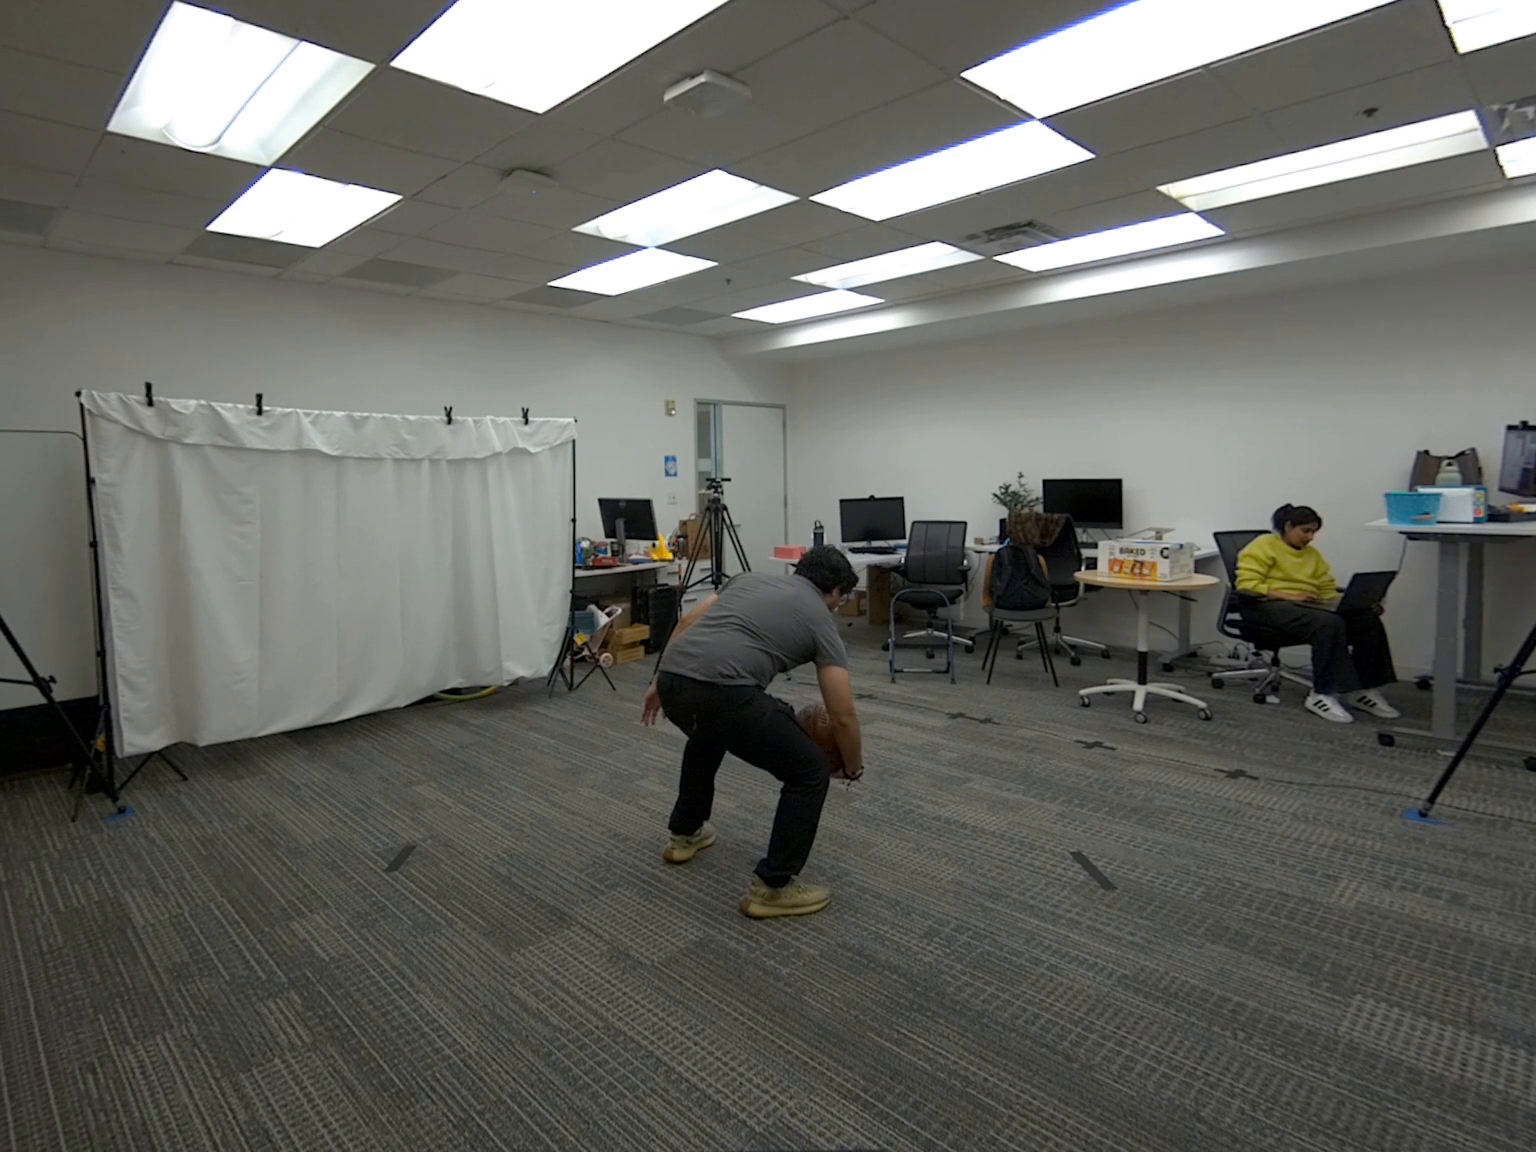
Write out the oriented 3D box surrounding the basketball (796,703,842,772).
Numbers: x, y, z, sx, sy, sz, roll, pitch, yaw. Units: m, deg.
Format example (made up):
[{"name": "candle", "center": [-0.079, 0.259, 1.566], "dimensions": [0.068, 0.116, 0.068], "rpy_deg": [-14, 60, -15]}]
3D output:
[{"name": "basketball", "center": [0.192, 0.566, 3.039], "dimensions": [0.236, 0.235, 0.237], "rpy_deg": [-1, 5, -2]}]
